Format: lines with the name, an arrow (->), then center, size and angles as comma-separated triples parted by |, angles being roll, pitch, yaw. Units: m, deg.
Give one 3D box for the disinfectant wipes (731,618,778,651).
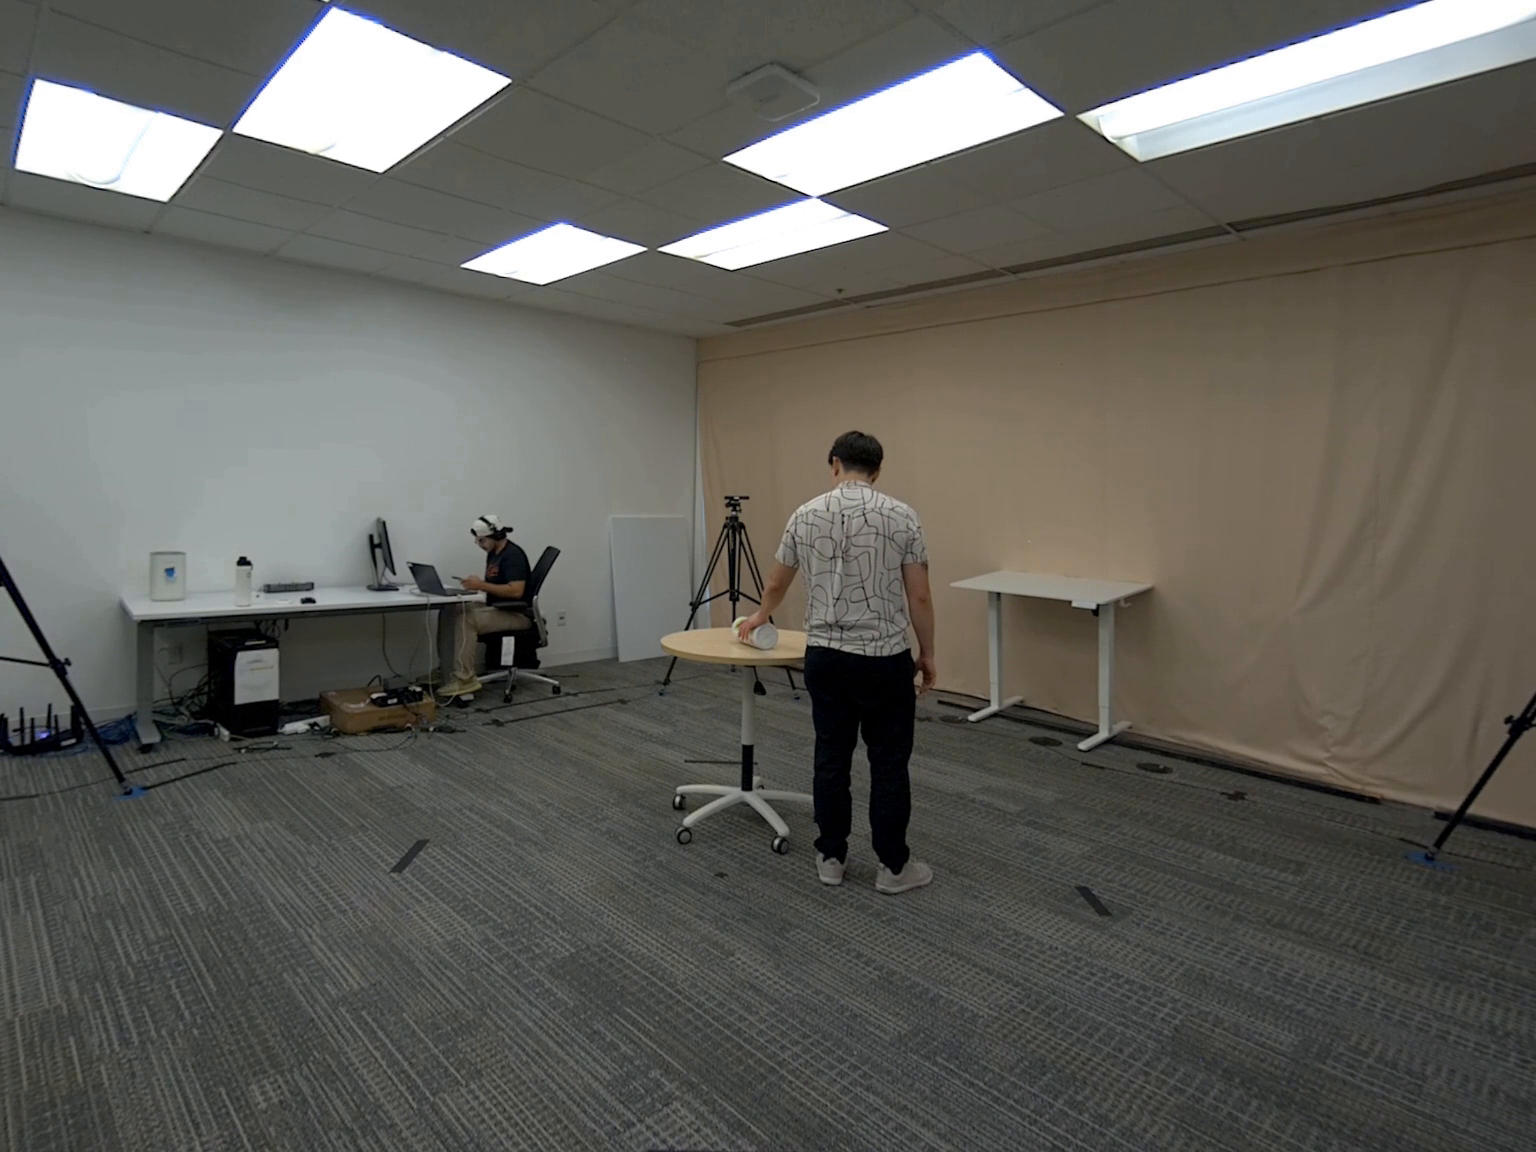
disinfectant wipes -> -0.059, 0.234, 3.488 | 0.115, 0.117, 0.222 | -1, 6, -28
